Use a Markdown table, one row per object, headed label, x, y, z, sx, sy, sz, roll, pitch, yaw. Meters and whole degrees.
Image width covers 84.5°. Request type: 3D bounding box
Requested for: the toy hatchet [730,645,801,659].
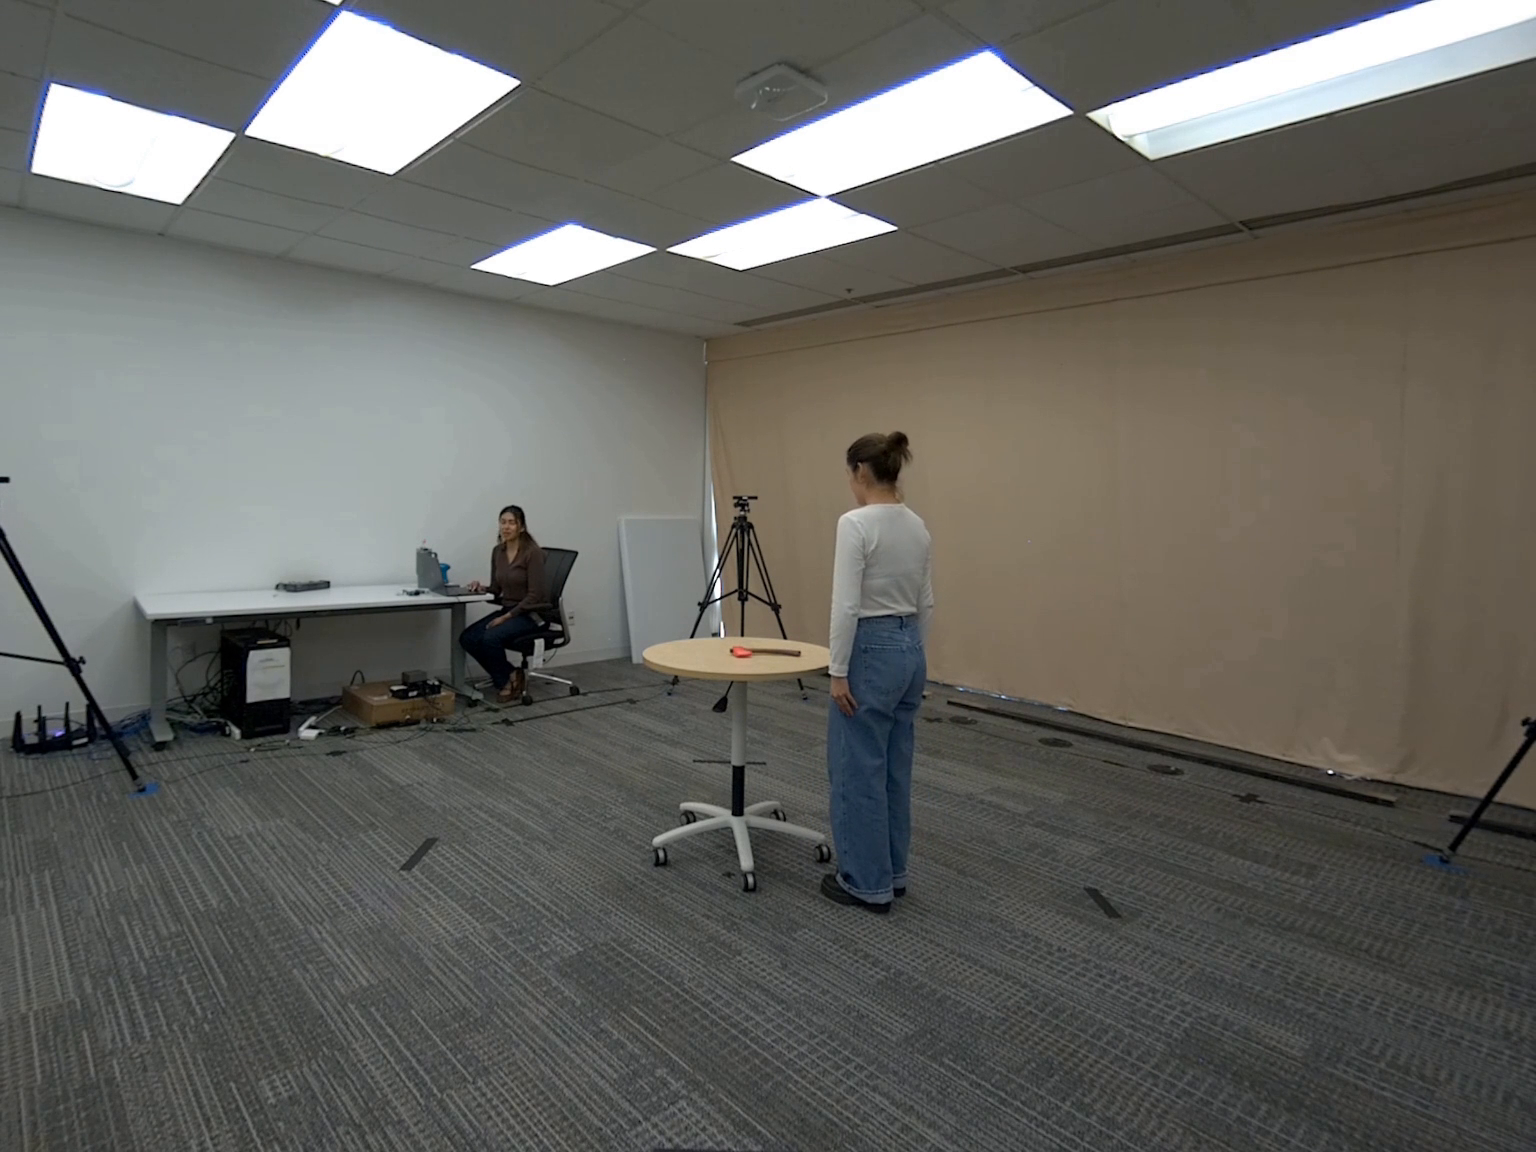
| label | x | y | z | sx | sy | sz | roll | pitch | yaw |
| --- | --- | --- | --- | --- | --- | --- | --- | --- | --- |
| toy hatchet | -0.031 | 0.294 | 3.235 | 0.273 | 0.029 | 0.130 | 3 | 6 | 14 |
